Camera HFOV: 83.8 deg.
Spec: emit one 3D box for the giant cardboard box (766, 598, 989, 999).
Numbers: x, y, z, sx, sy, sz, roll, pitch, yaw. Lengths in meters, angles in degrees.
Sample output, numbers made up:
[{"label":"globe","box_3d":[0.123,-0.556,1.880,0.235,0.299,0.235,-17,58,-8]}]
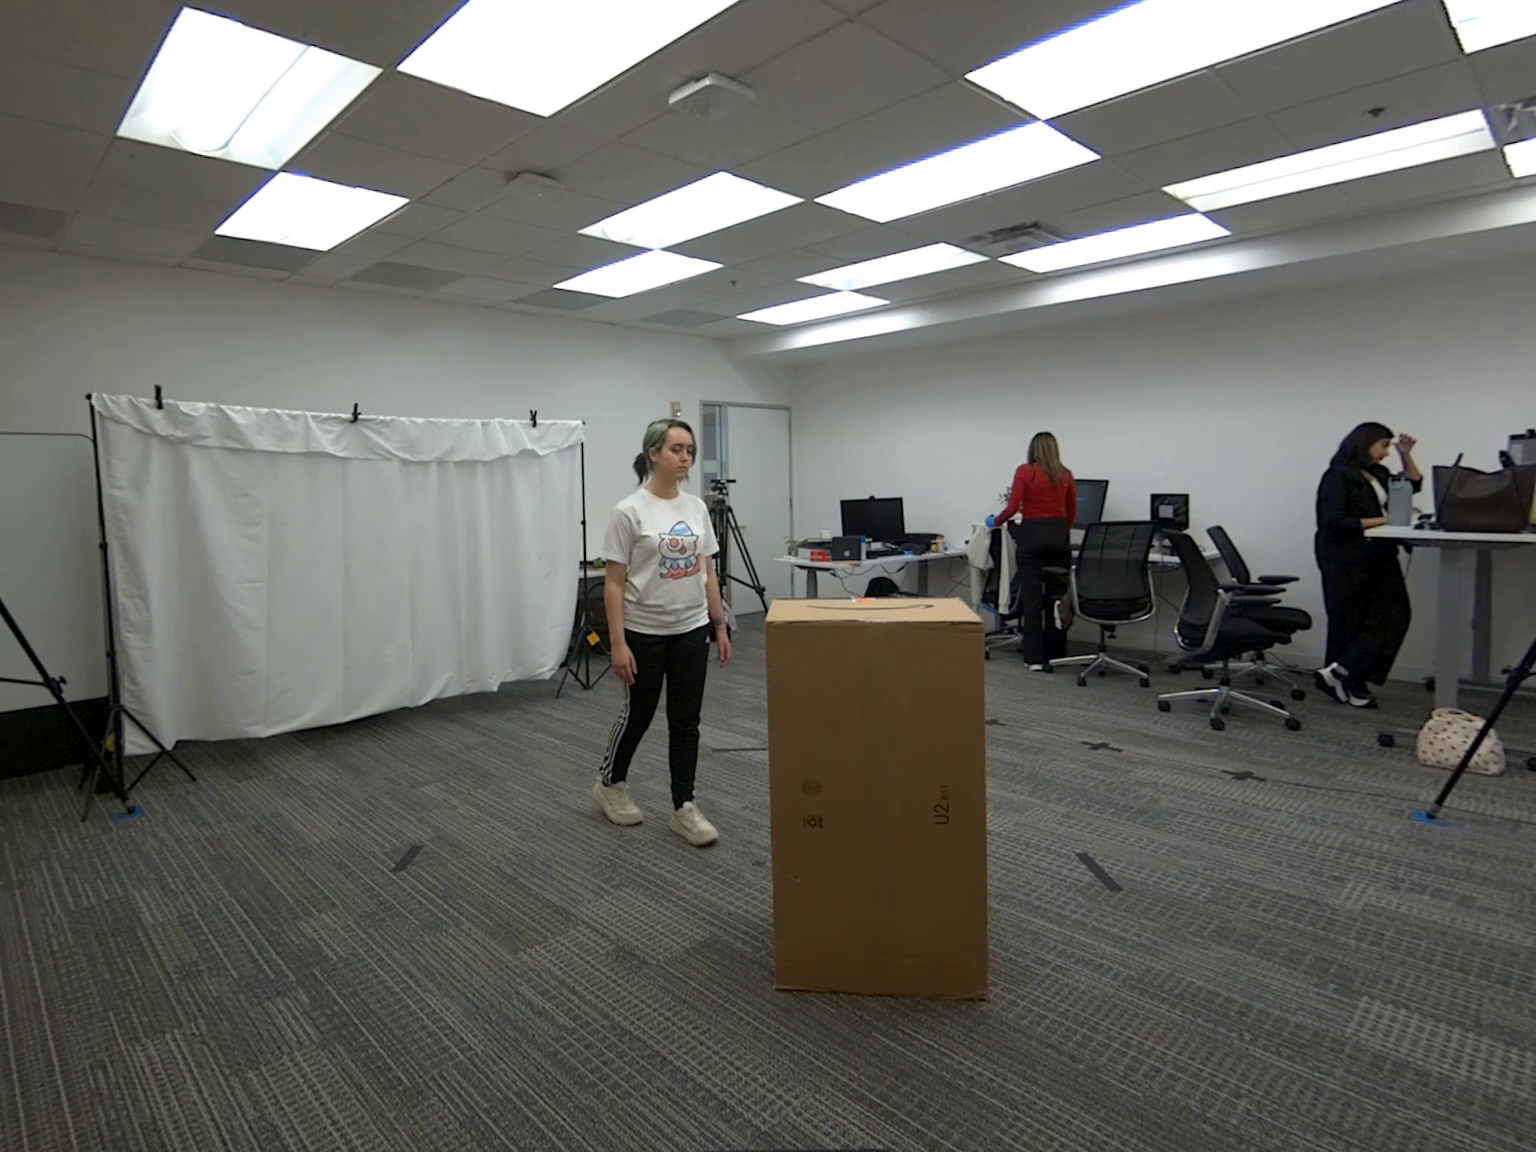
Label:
[{"label":"giant cardboard box","box_3d":[0.308,0.603,2.481,0.587,1.023,0.446,-1,4,6]}]
